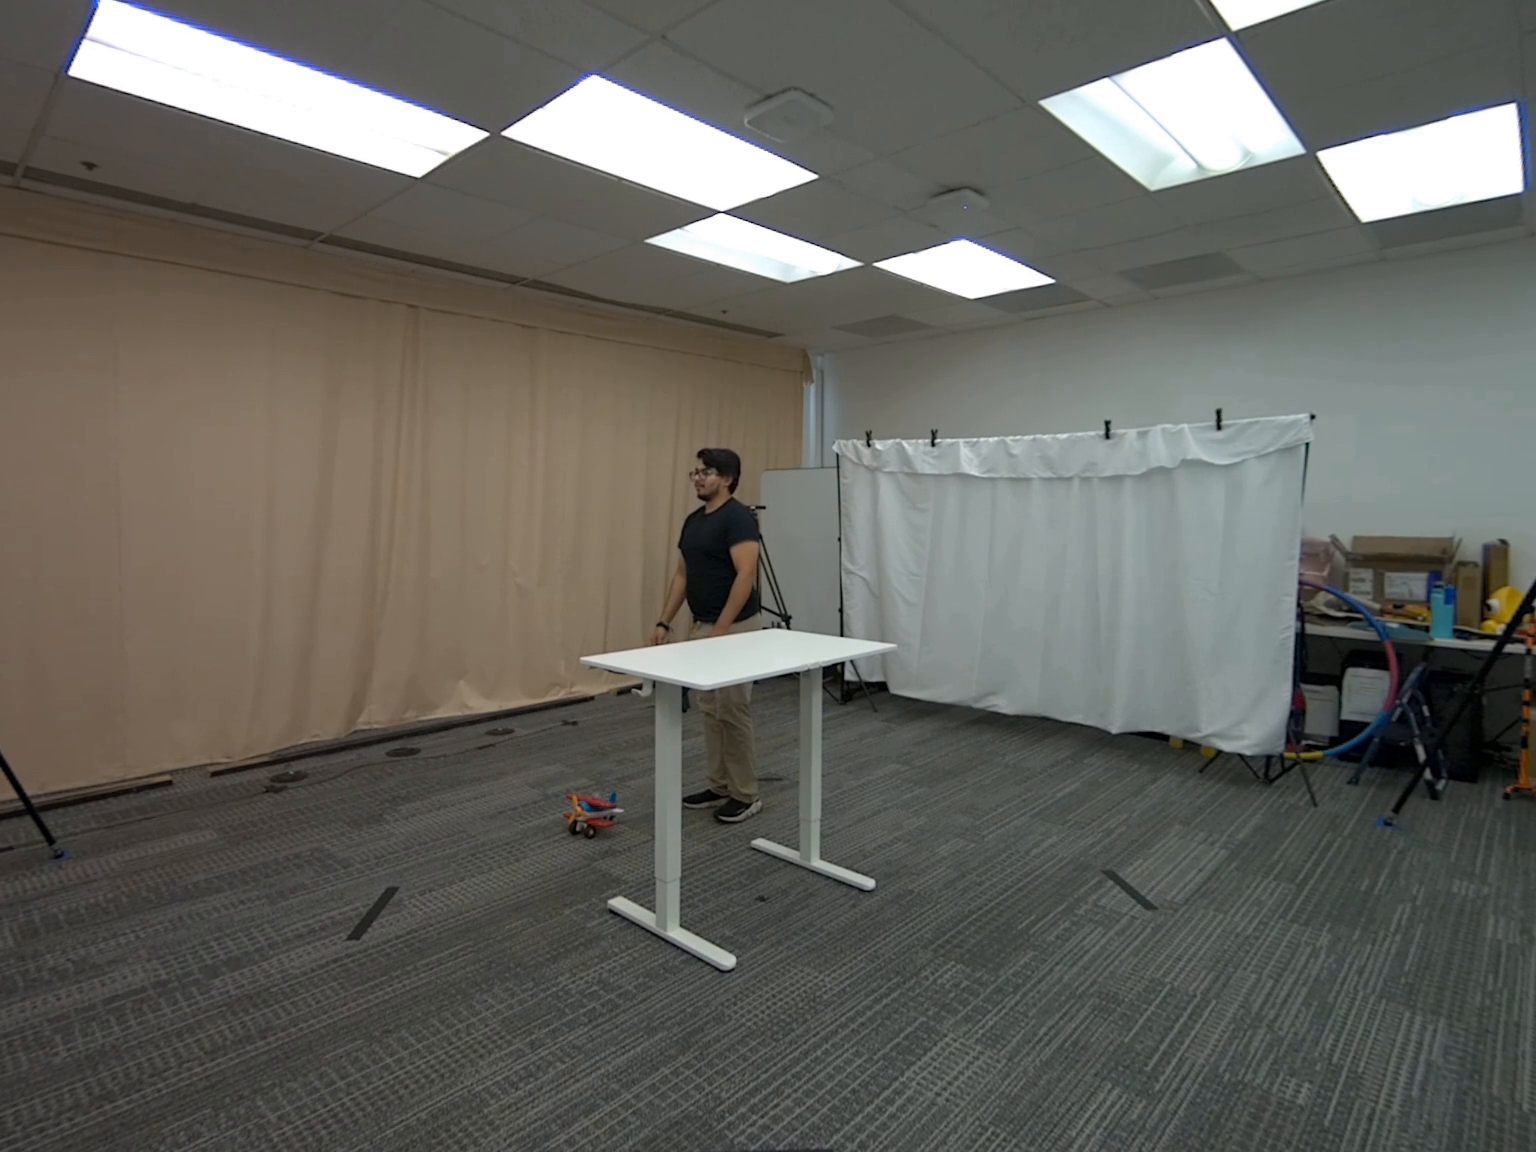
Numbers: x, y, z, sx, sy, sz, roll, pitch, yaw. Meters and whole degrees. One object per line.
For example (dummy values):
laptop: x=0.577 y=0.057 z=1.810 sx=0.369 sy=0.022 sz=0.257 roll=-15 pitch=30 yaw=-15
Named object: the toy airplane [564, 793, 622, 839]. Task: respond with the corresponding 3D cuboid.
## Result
toy airplane: x=-0.763 y=1.019 z=3.647 sx=0.252 sy=0.156 sz=0.259 roll=-1 pitch=6 yaw=4
